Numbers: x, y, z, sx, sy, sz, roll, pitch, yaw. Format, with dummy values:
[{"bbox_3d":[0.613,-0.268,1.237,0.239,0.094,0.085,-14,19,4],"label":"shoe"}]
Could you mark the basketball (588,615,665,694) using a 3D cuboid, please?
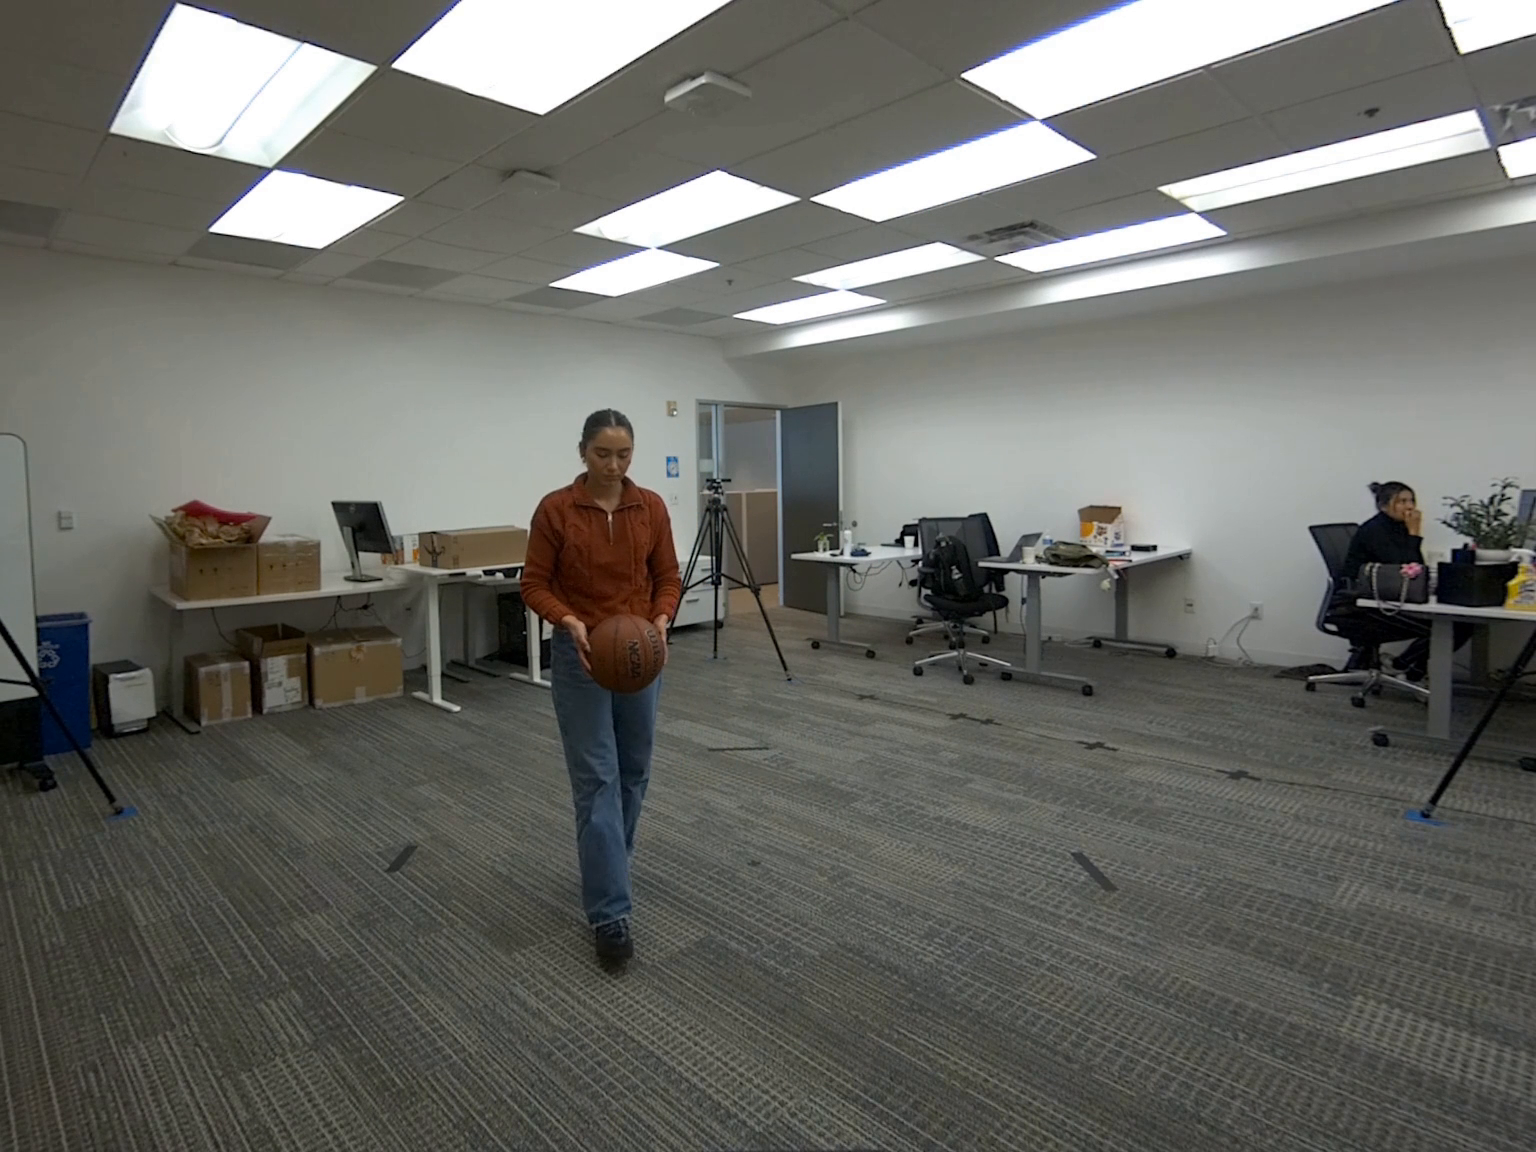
[{"bbox_3d":[-0.433,0.228,2.549,0.236,0.235,0.237,-1,5,-2],"label":"basketball"}]
